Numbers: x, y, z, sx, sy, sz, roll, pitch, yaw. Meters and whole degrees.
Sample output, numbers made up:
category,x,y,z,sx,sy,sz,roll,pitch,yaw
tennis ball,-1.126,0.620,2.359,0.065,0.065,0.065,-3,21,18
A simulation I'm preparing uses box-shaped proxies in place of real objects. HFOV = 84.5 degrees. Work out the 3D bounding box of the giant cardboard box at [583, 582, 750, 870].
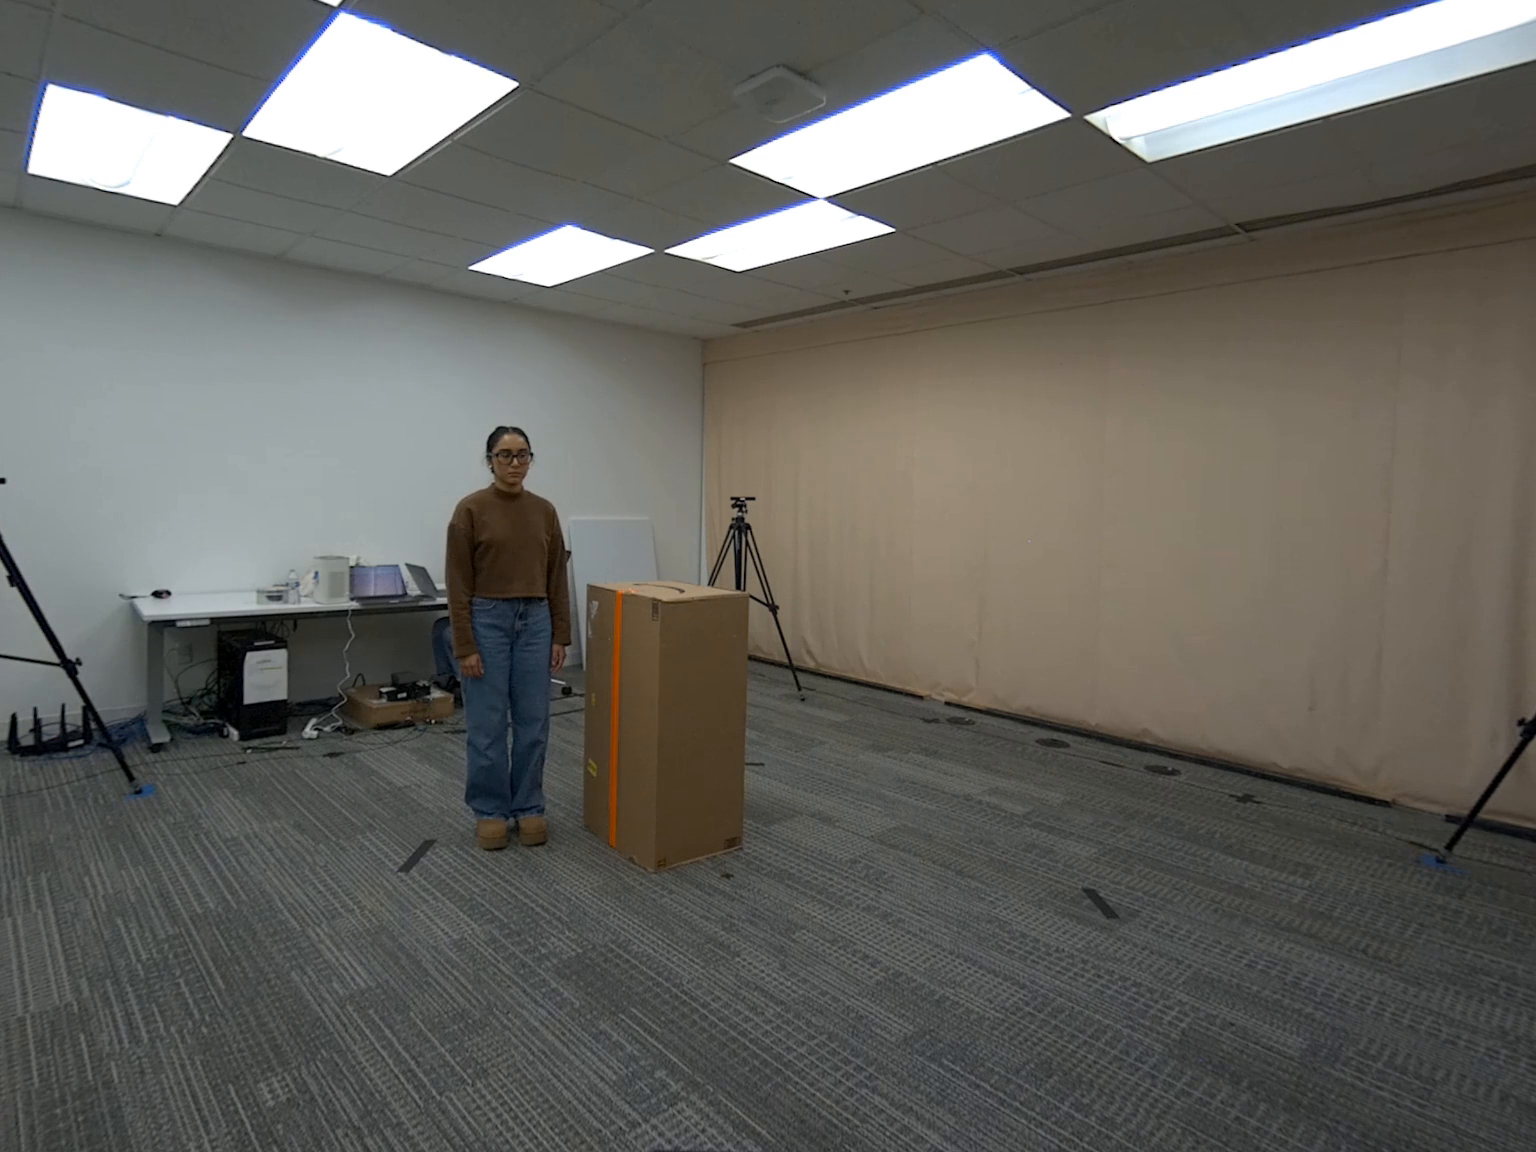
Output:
category,x,y,z,sx,sy,sz,roll,pitch,yaw
giant cardboard box,-0.437,0.565,3.432,0.416,1.023,0.592,-1,5,-39
